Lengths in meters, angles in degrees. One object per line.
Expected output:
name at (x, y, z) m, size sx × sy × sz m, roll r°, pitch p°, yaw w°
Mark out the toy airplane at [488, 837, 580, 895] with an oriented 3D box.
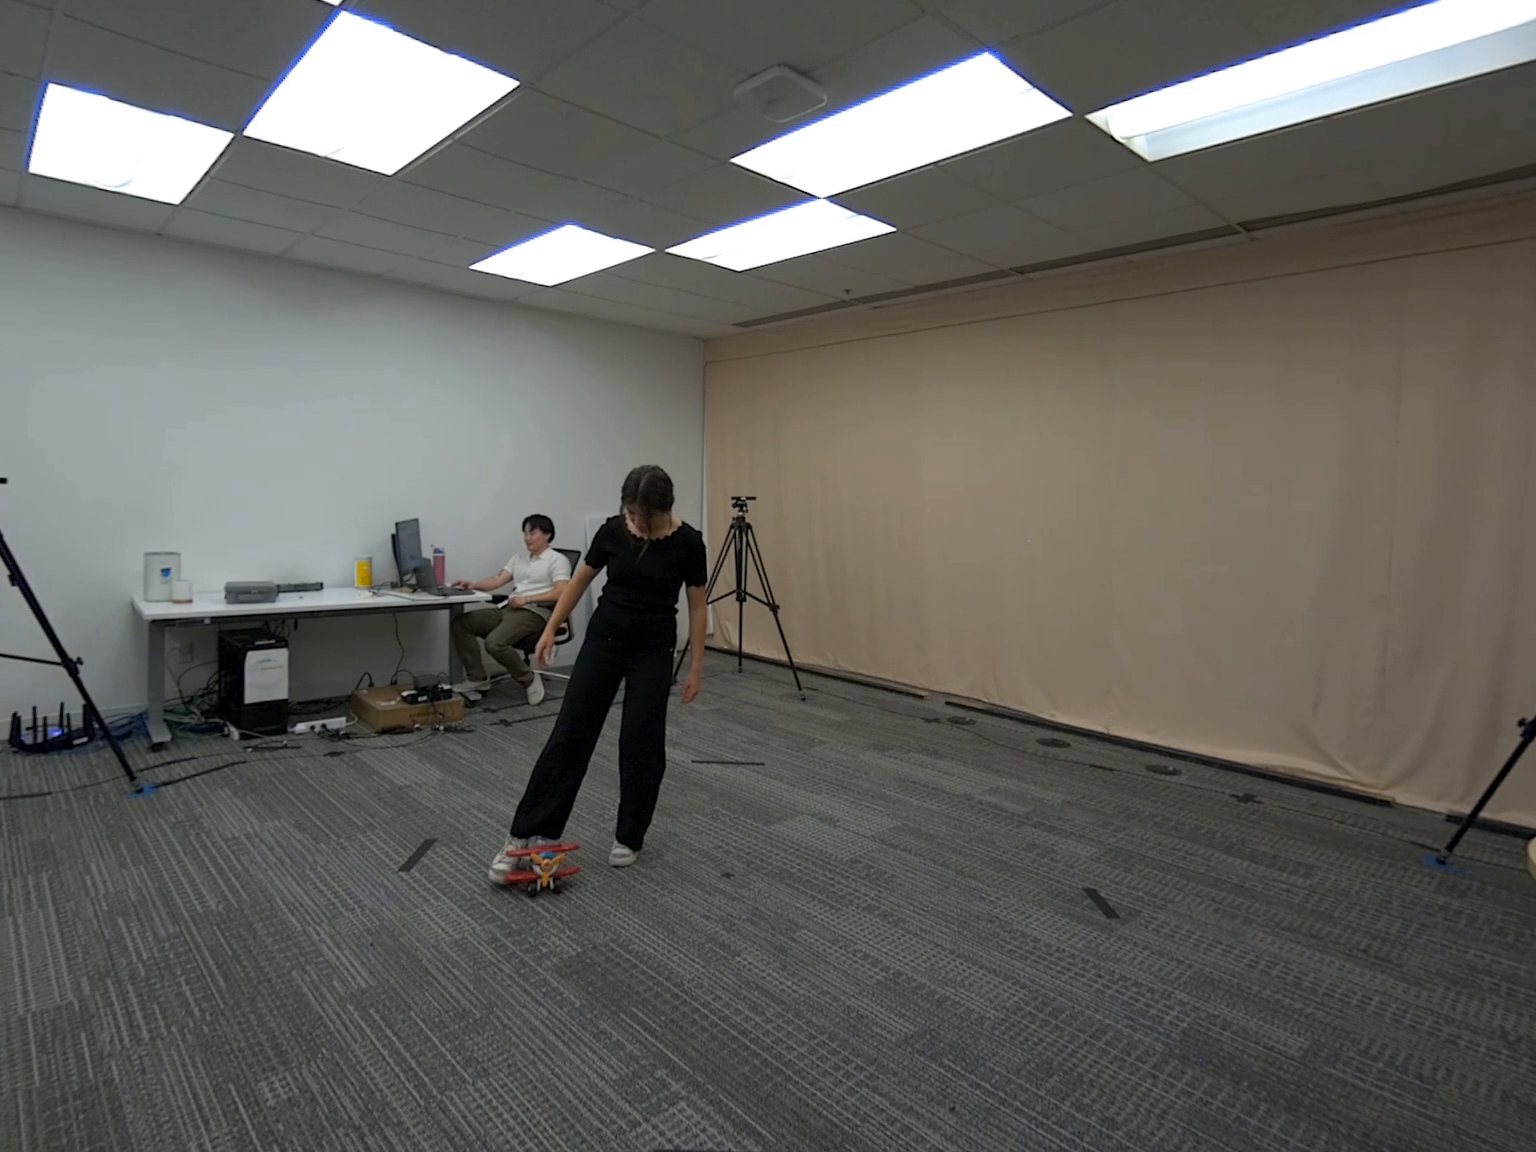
toy airplane at (-0.832, 1.029, 2.986) m, size 0.266 × 0.156 × 0.245 m, roll 7°, pitch 7°, yaw 40°
